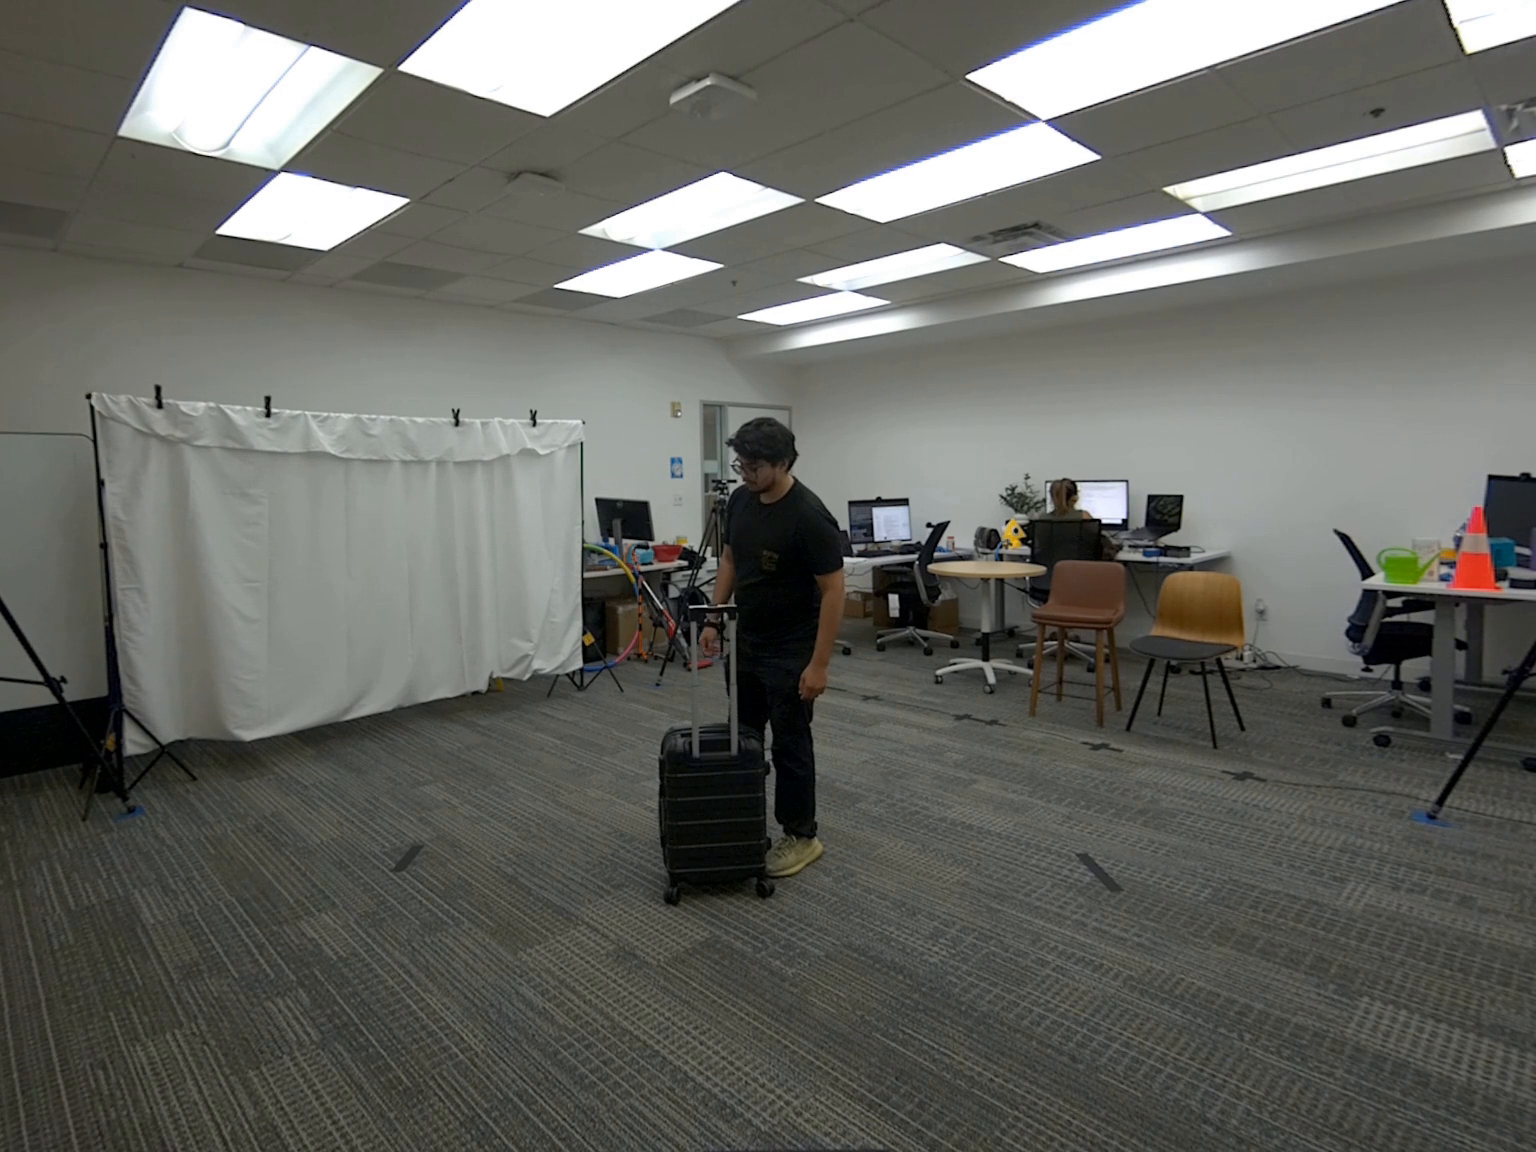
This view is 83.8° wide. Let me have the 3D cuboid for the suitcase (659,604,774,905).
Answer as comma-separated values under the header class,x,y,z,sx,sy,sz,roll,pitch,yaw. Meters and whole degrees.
class,x,y,z,sx,sy,sz,roll,pitch,yaw
suitcase,-0.197,0.590,2.948,0.383,0.977,0.258,-2,2,-4
